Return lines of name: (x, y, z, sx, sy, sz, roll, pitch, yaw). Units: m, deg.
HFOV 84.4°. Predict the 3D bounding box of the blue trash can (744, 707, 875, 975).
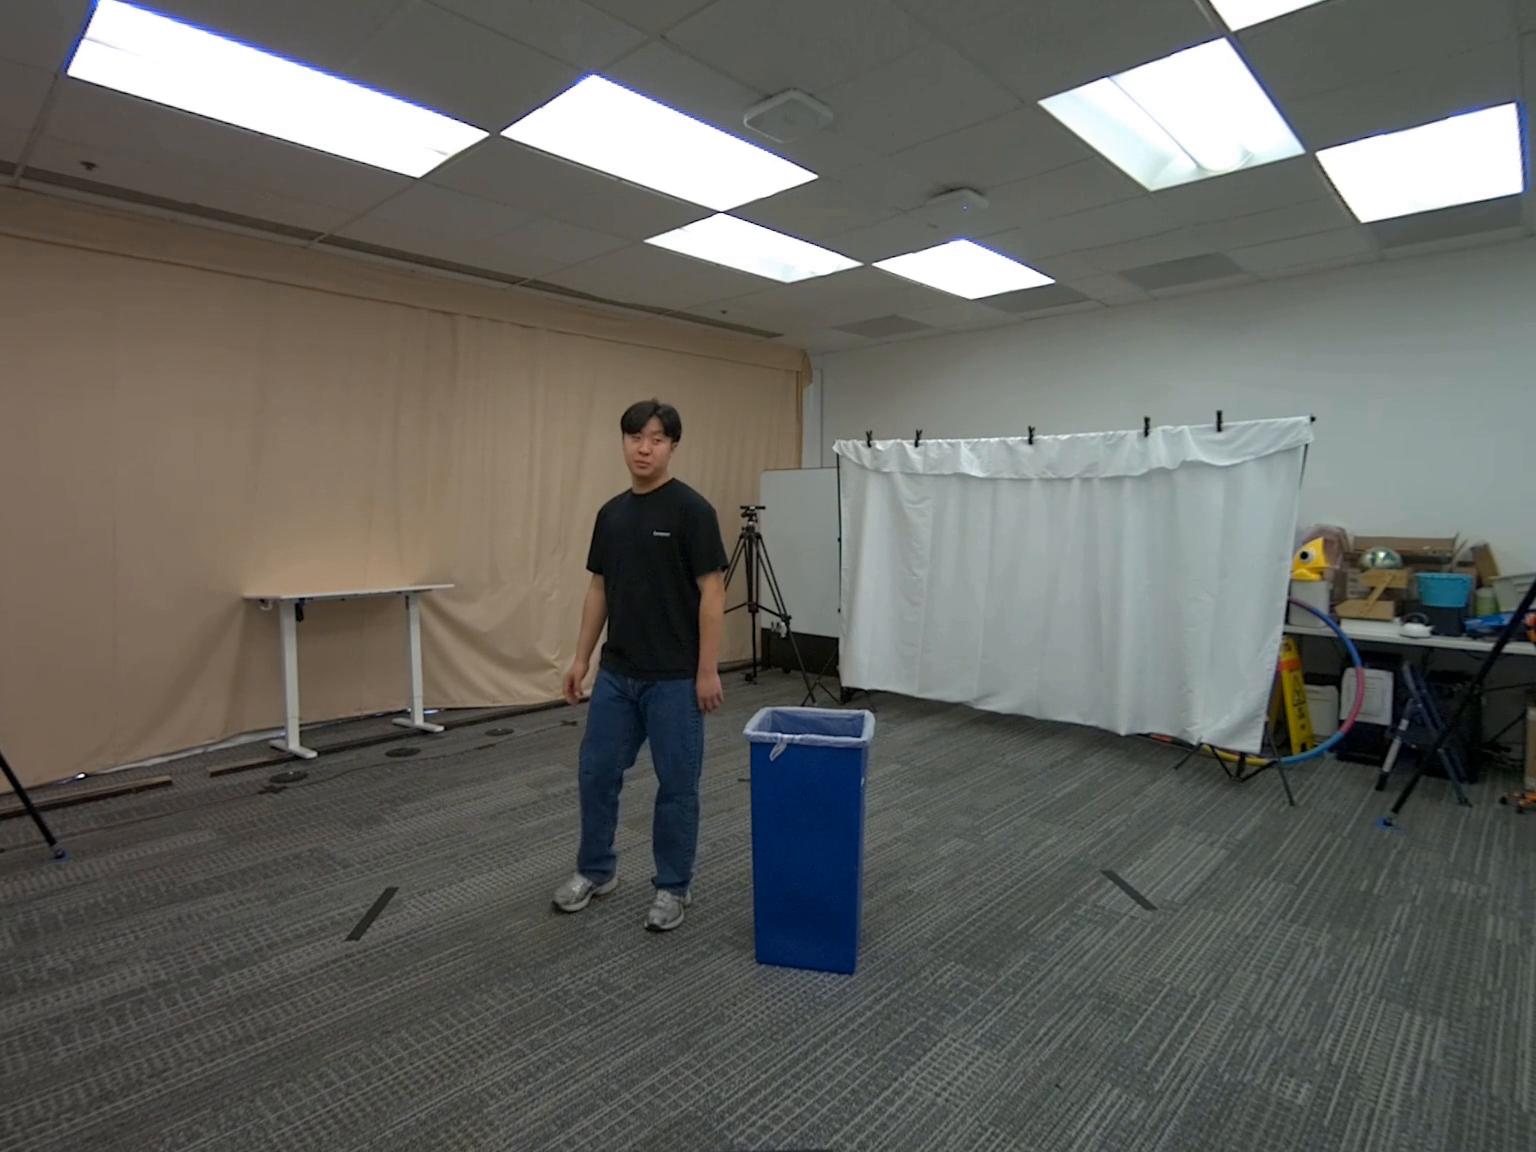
blue trash can: (0.145, 0.814, 2.648, 0.383, 0.713, 0.369, 1, 1, 12)
